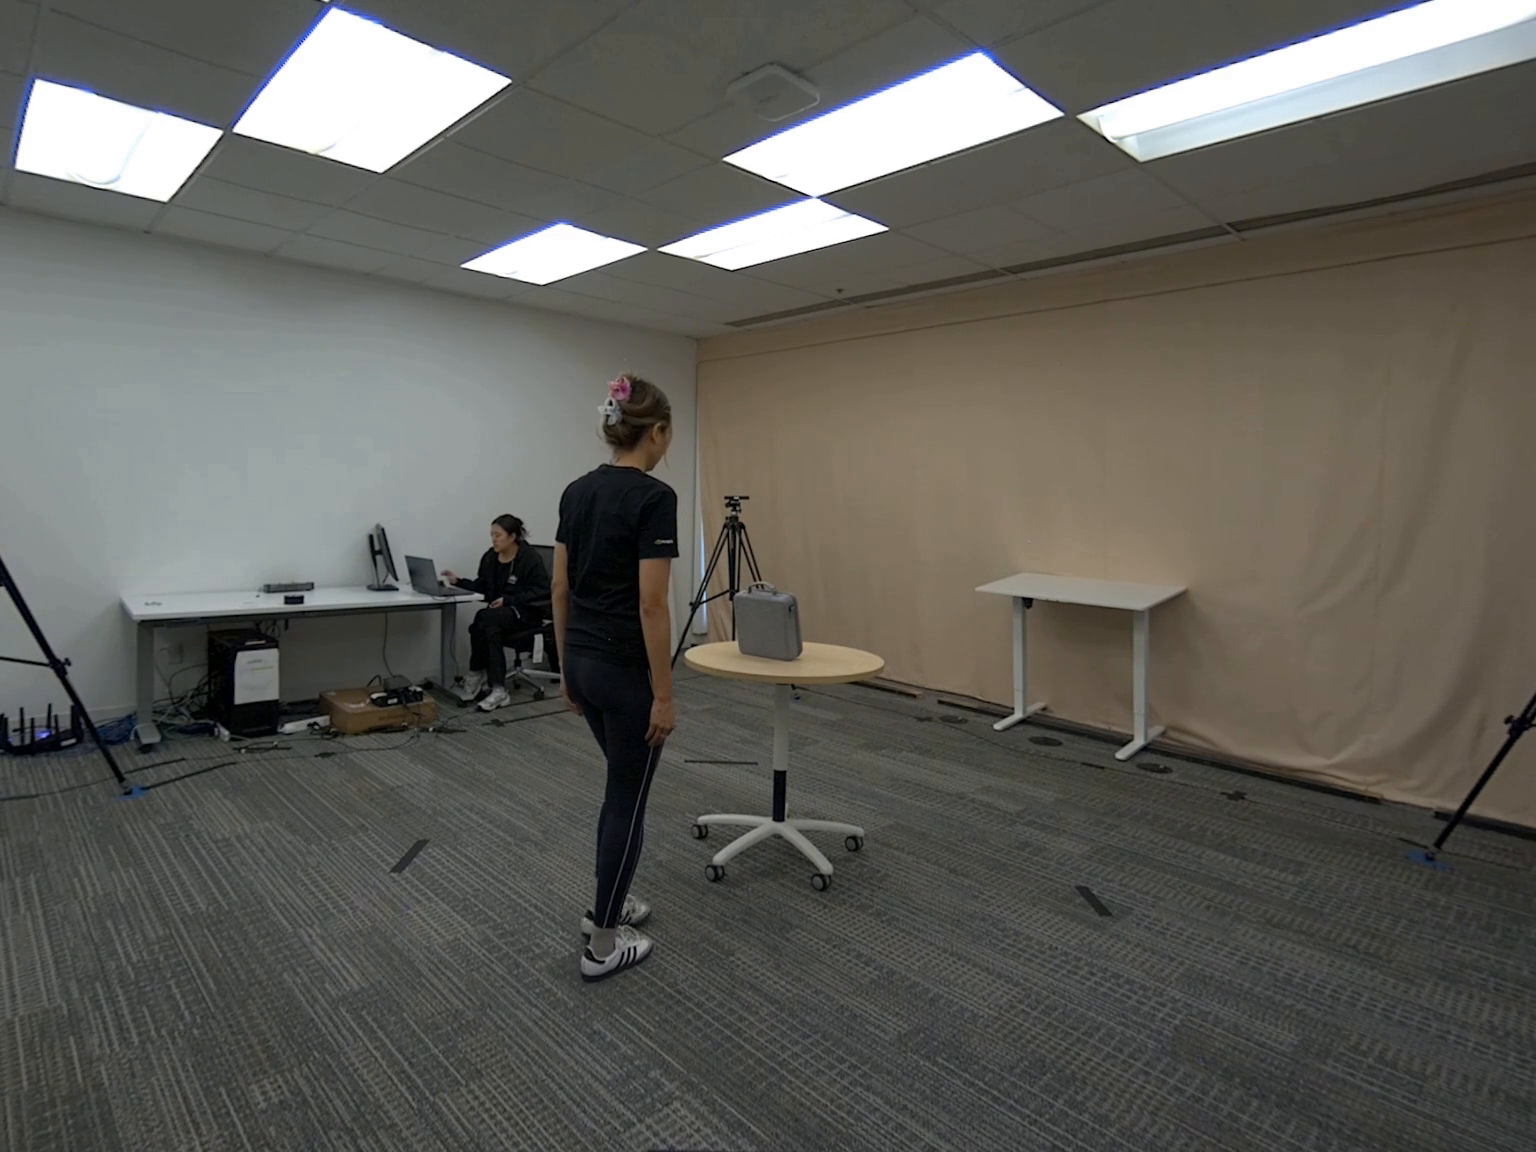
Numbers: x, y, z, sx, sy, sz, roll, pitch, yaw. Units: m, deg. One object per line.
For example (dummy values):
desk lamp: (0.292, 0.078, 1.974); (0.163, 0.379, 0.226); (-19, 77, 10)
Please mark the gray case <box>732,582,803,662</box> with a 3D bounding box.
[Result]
gray case: (-0.005, 0.180, 3.219); (0.263, 0.258, 0.103); (3, 15, 37)
